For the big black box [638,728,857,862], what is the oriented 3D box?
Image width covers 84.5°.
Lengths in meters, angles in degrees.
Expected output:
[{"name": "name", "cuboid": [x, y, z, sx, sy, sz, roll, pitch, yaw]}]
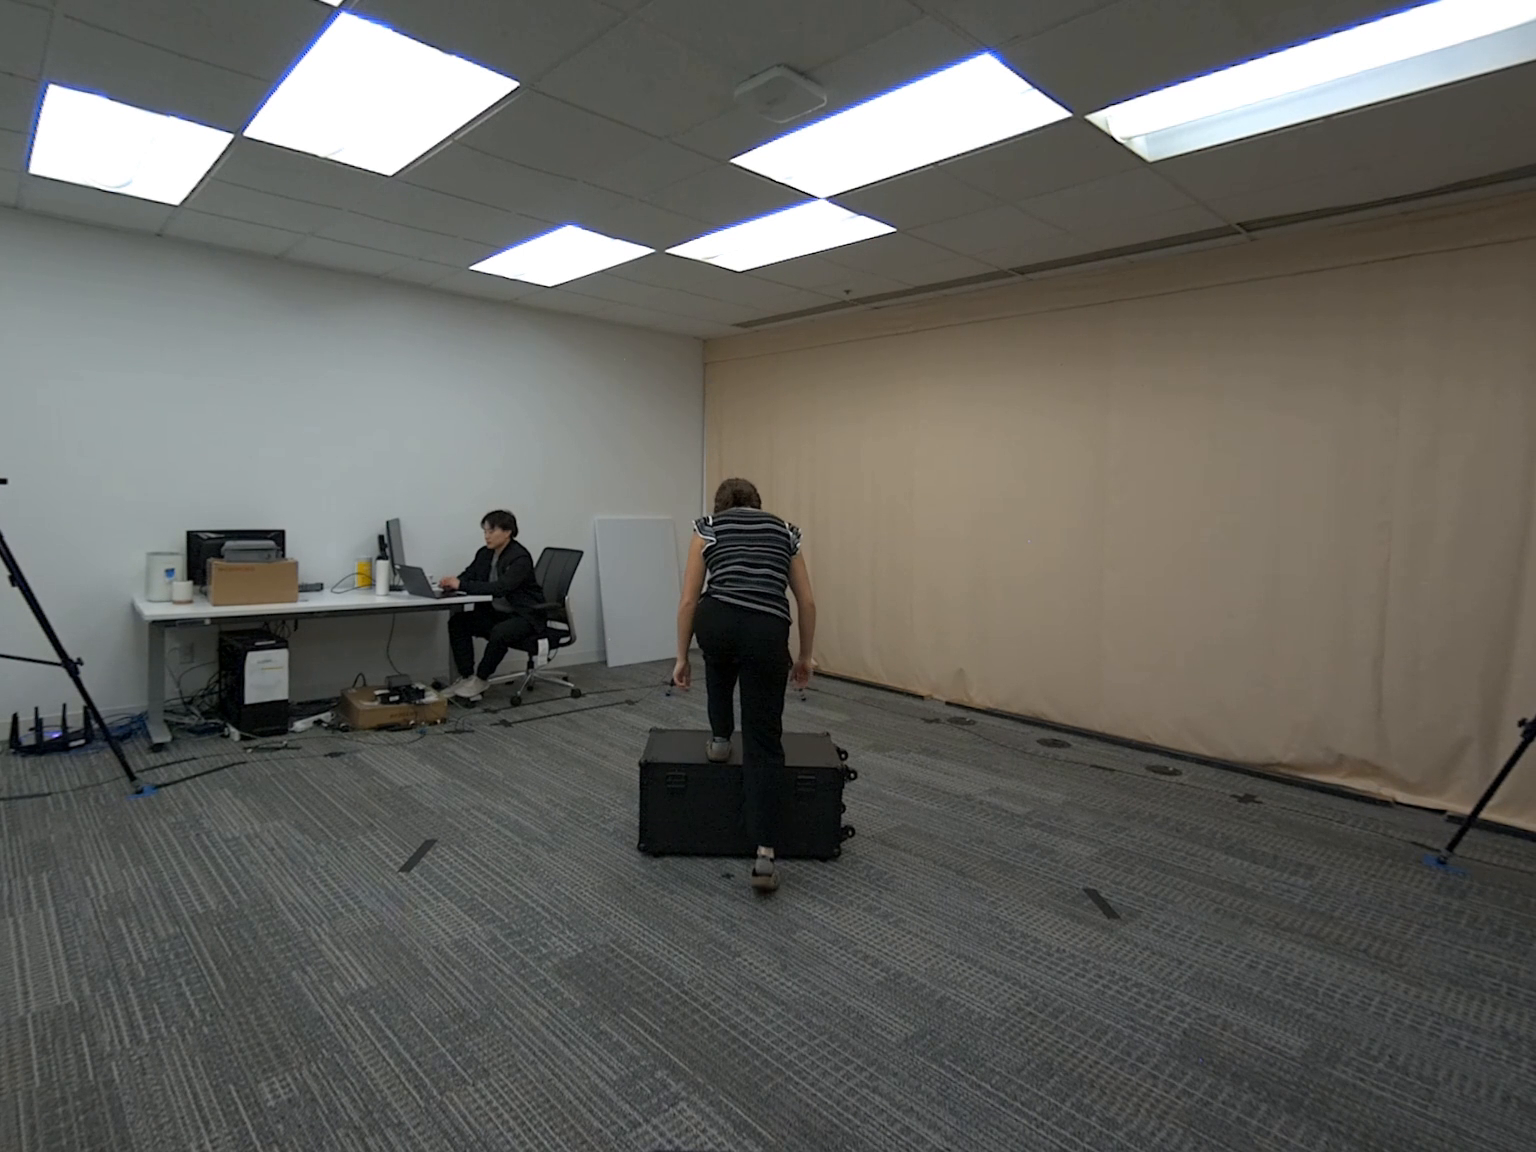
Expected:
[{"name": "big black box", "cuboid": [-0.091, 0.883, 3.466, 0.860, 0.395, 0.523, 1, 5, -2]}]
